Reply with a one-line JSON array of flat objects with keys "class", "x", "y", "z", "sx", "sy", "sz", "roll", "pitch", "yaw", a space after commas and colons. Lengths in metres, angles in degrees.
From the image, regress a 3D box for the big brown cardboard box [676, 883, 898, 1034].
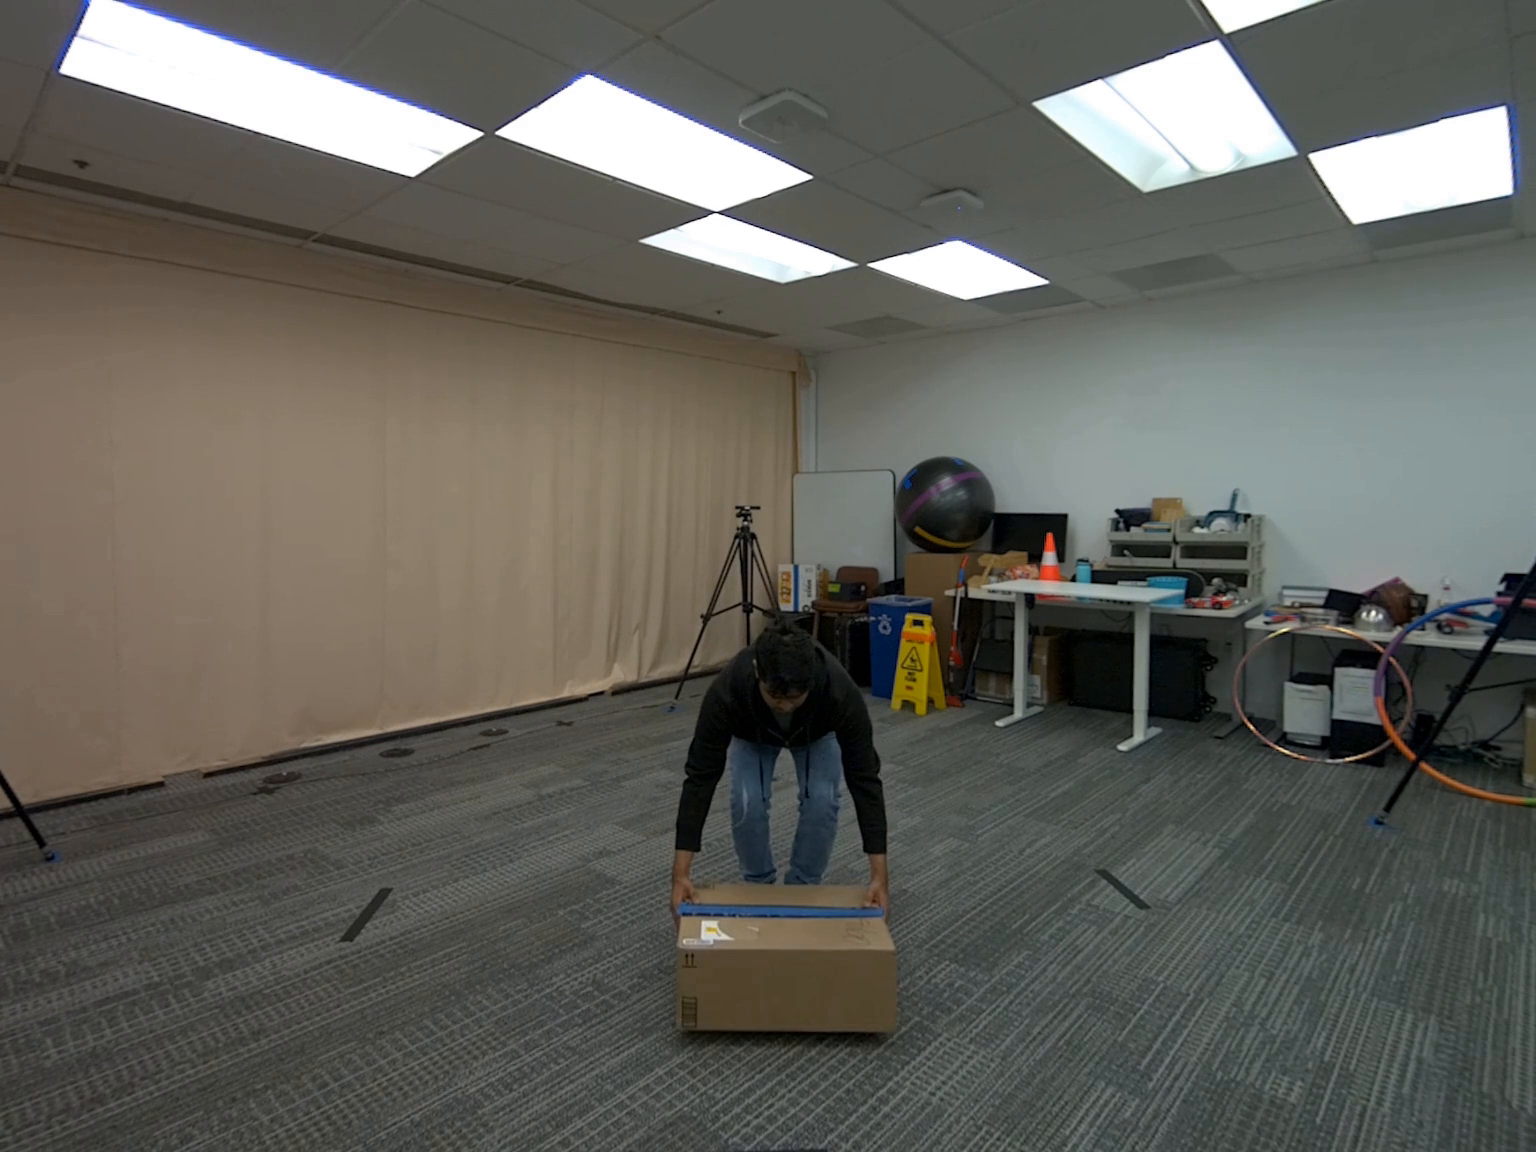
[{"class": "big brown cardboard box", "x": 0.037, "y": 1.049, "z": 2.361, "sx": 0.589, "sy": 0.233, "sz": 0.418, "roll": 2, "pitch": 2, "yaw": 0}]
